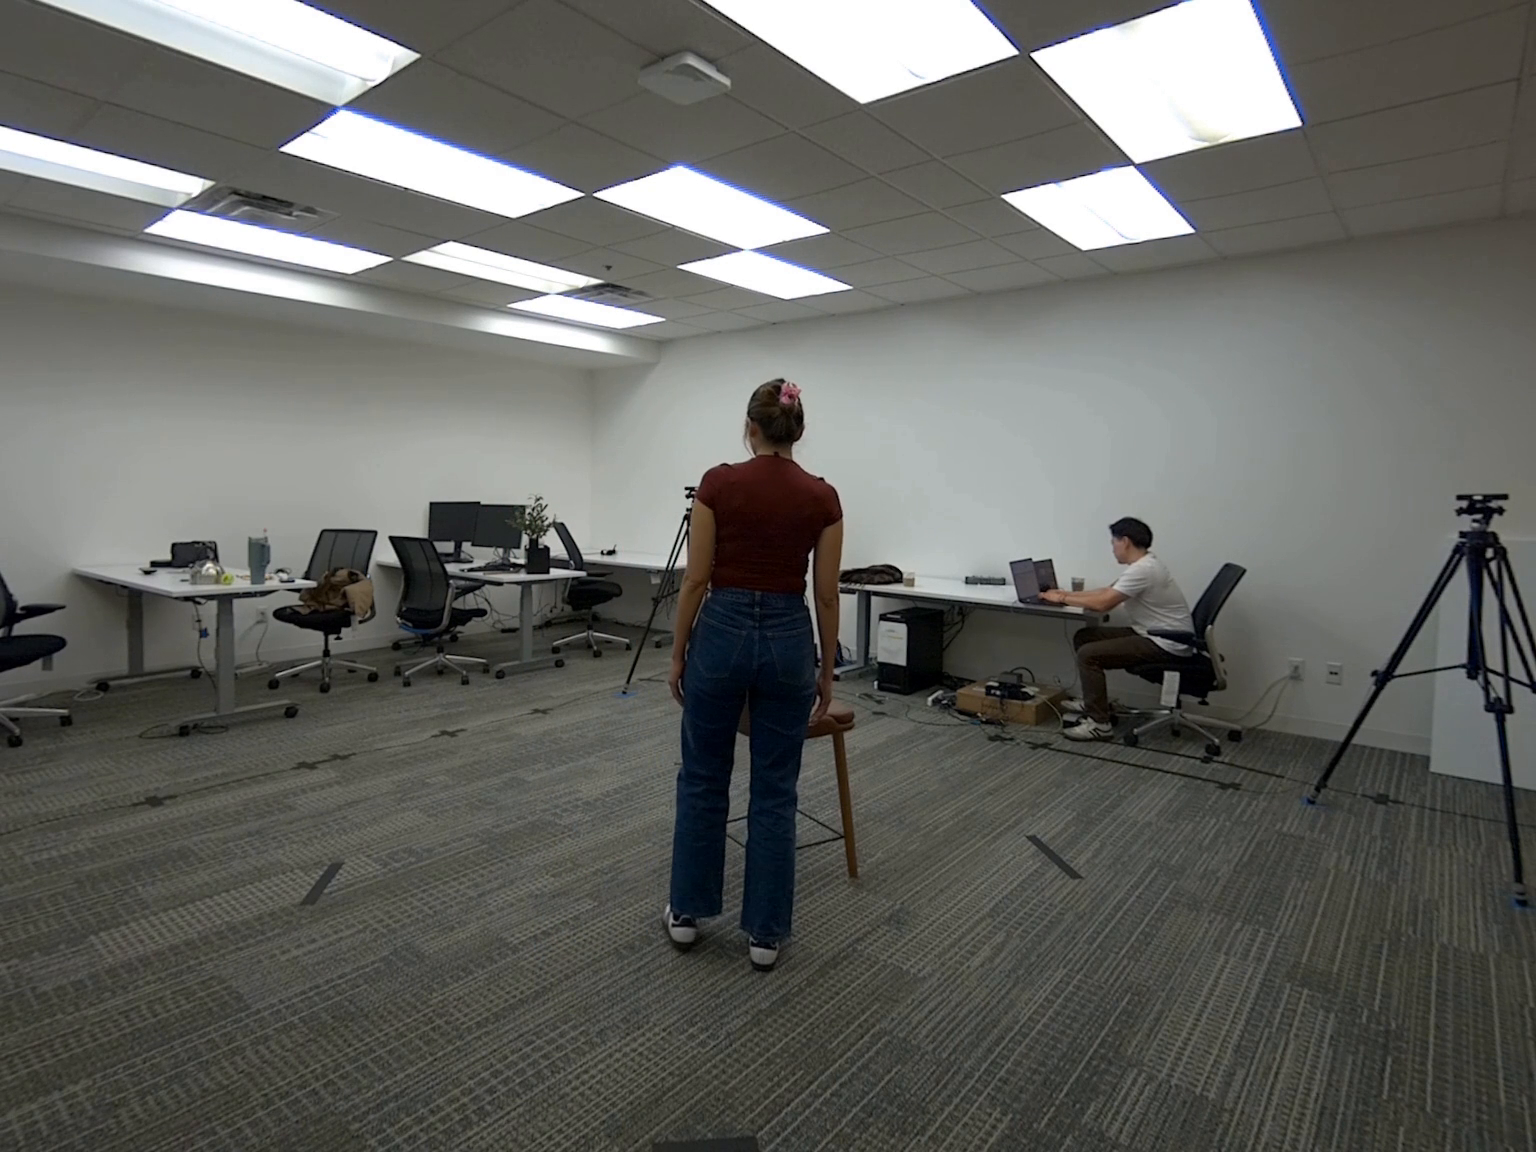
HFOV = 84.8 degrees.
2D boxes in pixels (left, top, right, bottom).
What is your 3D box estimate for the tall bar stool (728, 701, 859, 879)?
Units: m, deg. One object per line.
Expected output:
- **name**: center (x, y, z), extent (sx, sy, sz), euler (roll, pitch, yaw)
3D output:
- **tall bar stool**: center (0.020, 0.629, 3.092), extent (0.455, 0.886, 0.471), euler (-3, 5, -33)
